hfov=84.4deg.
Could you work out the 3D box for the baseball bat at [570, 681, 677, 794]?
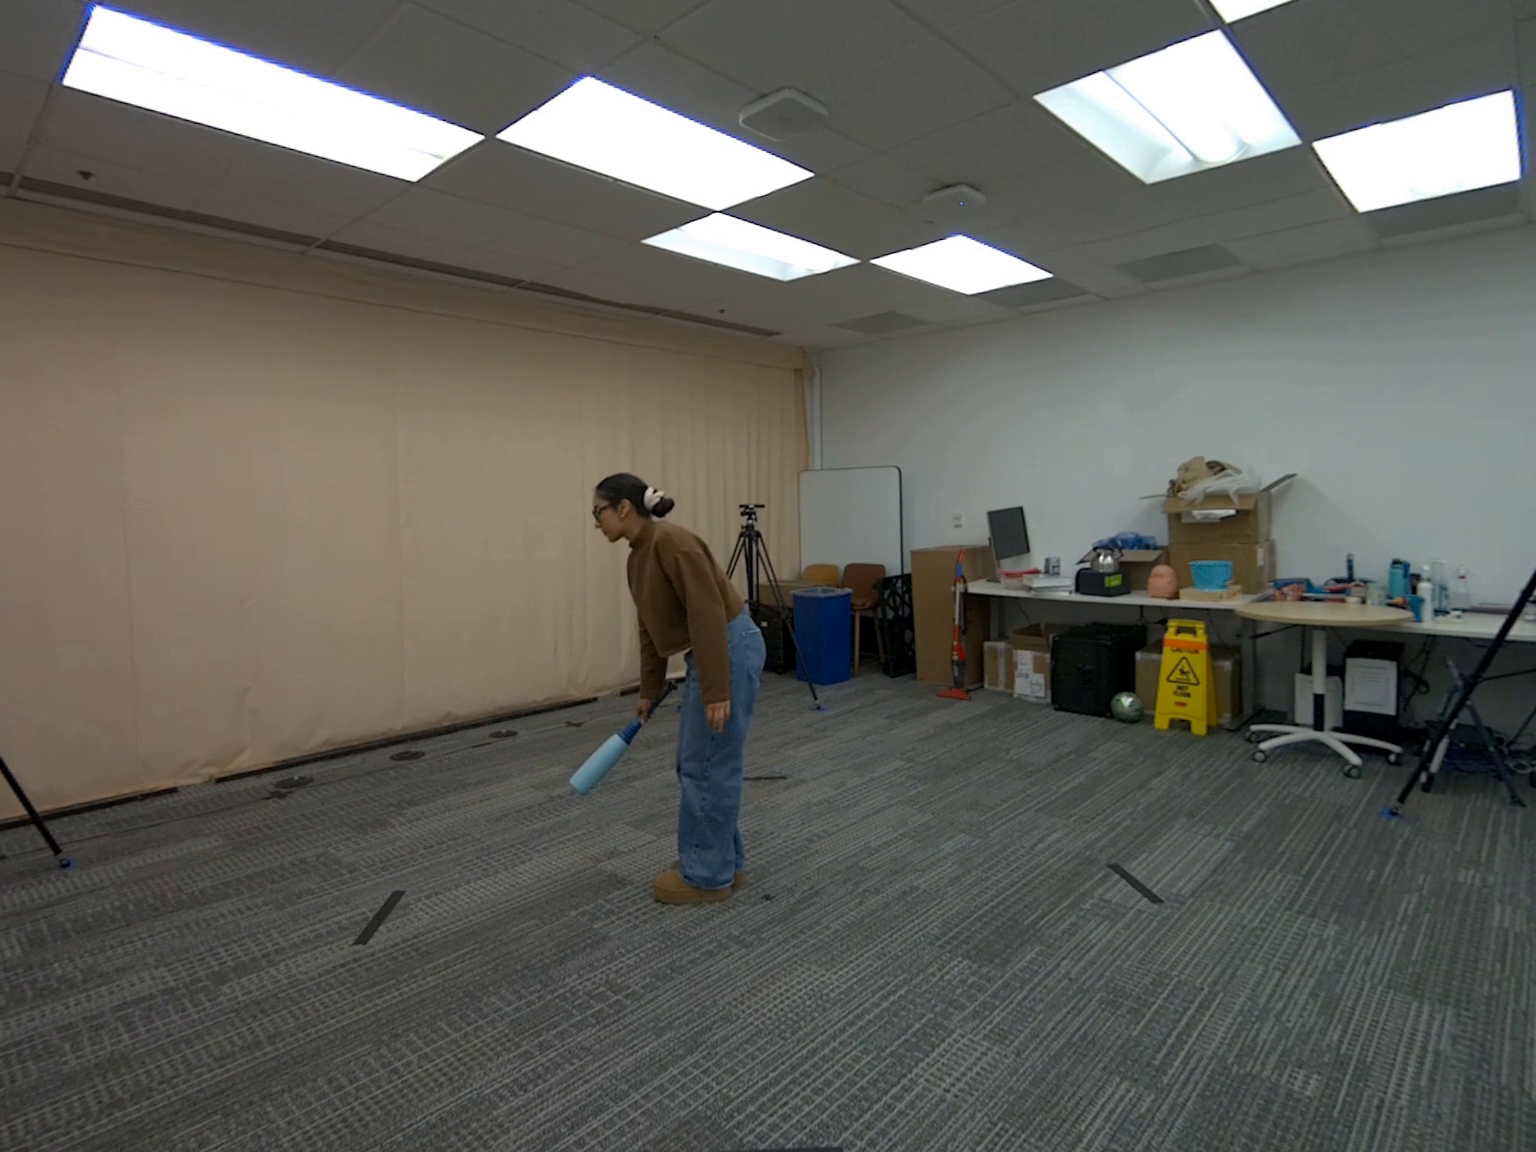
[{"bbox_3d":[-0.532,0.619,3.203,0.541,0.087,0.091,-48,20,-14],"label":"baseball bat"}]
